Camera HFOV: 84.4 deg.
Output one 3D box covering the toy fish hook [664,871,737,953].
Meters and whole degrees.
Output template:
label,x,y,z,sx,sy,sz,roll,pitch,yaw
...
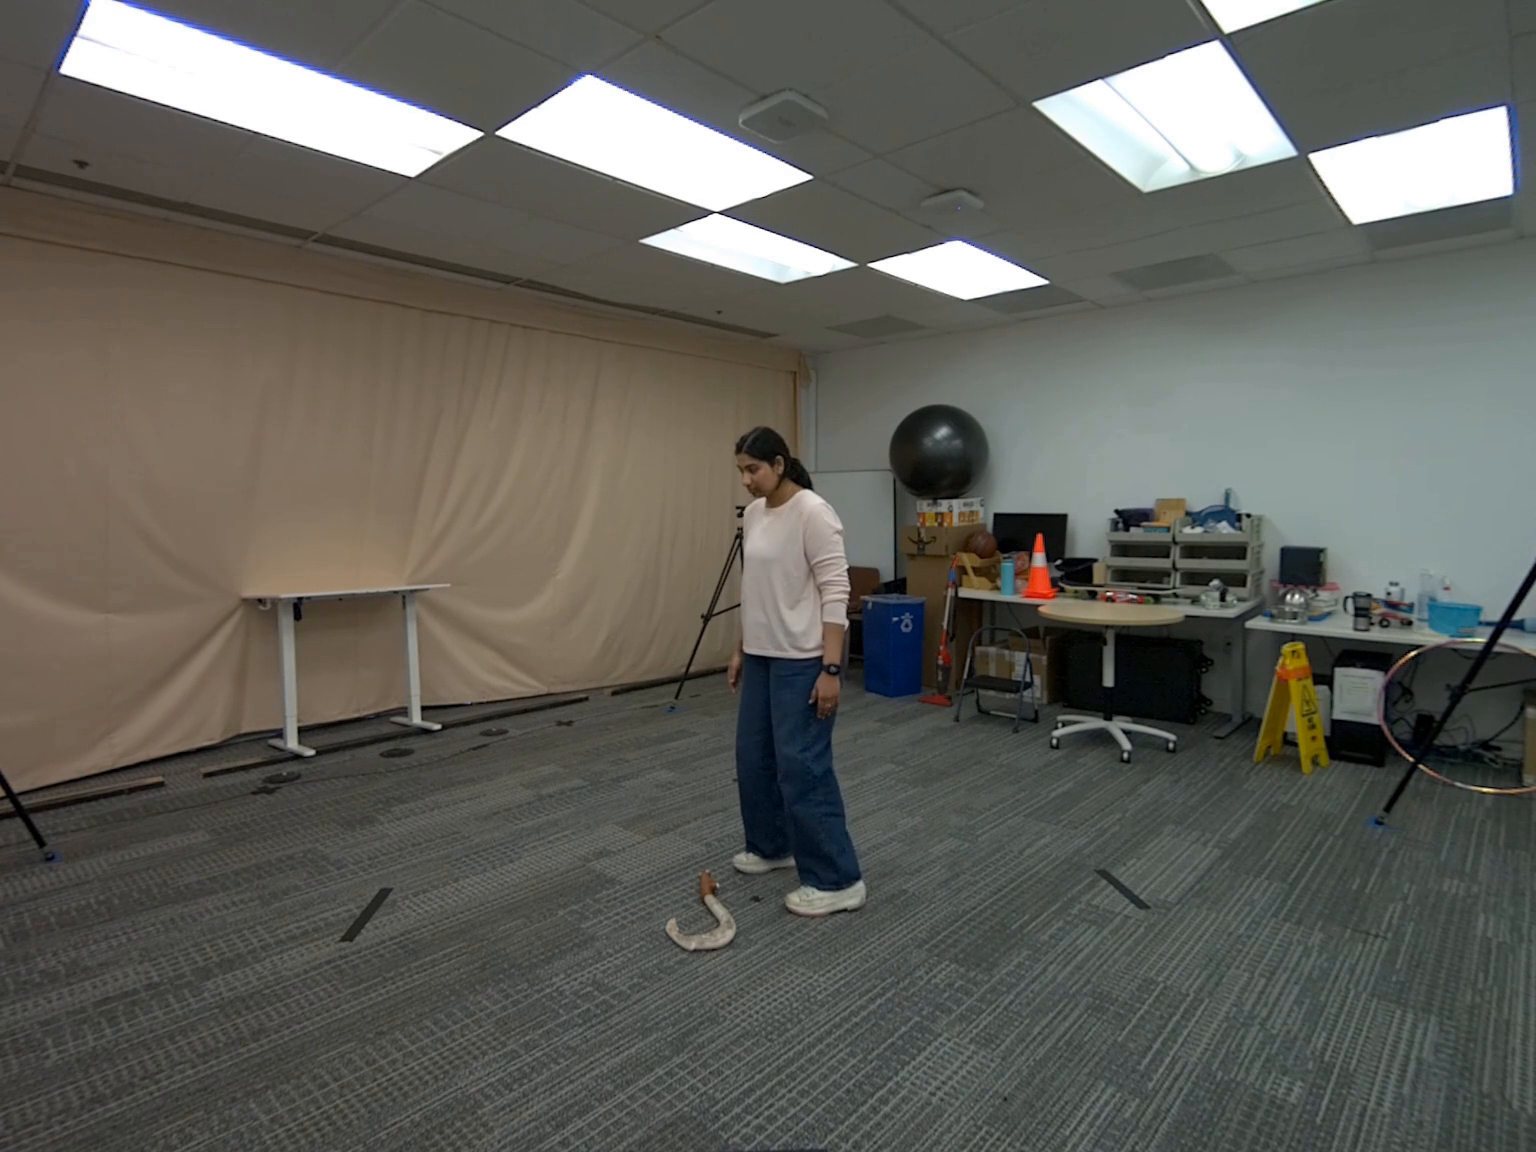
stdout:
label,x,y,z,sx,sy,sz,roll,pitch,yaw
toy fish hook,-0.238,1.129,2.874,0.222,0.048,0.512,0,4,-10
